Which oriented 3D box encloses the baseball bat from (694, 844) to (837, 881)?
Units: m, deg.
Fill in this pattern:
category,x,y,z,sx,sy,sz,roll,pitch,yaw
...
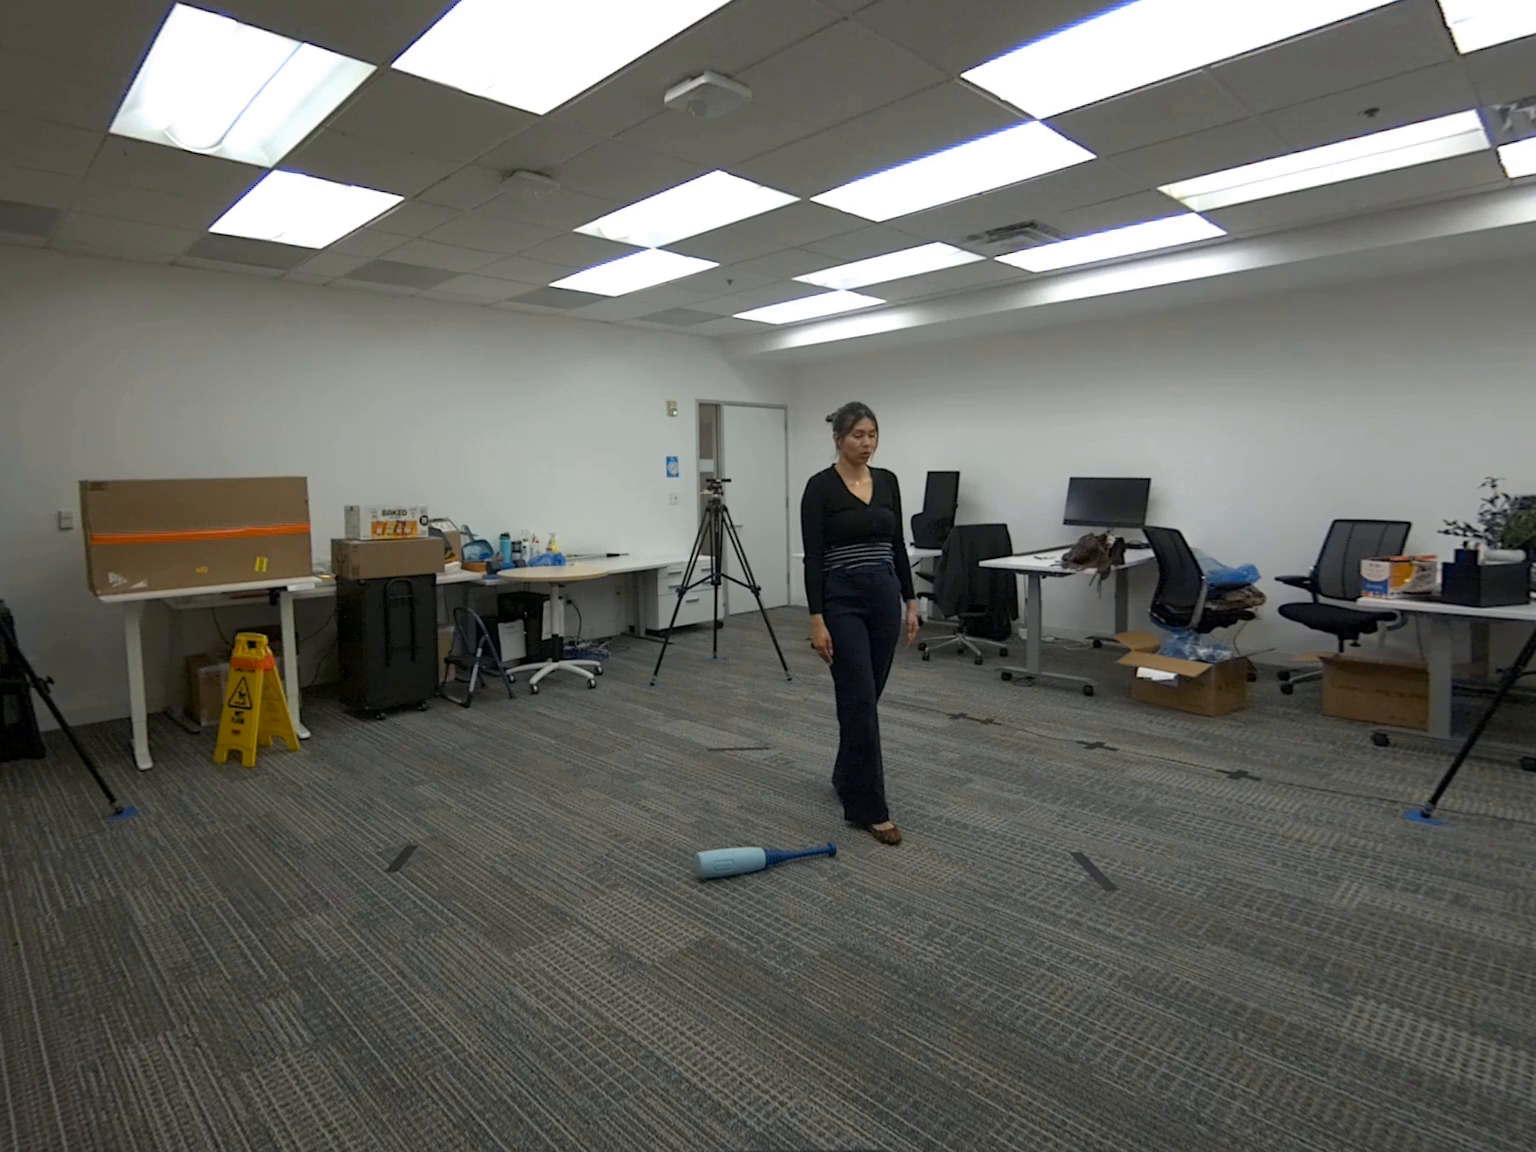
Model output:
category,x,y,z,sx,sy,sz,roll,pitch,yaw
baseball bat,0.000,1.014,3.069,0.533,0.089,0.091,1,4,-20
